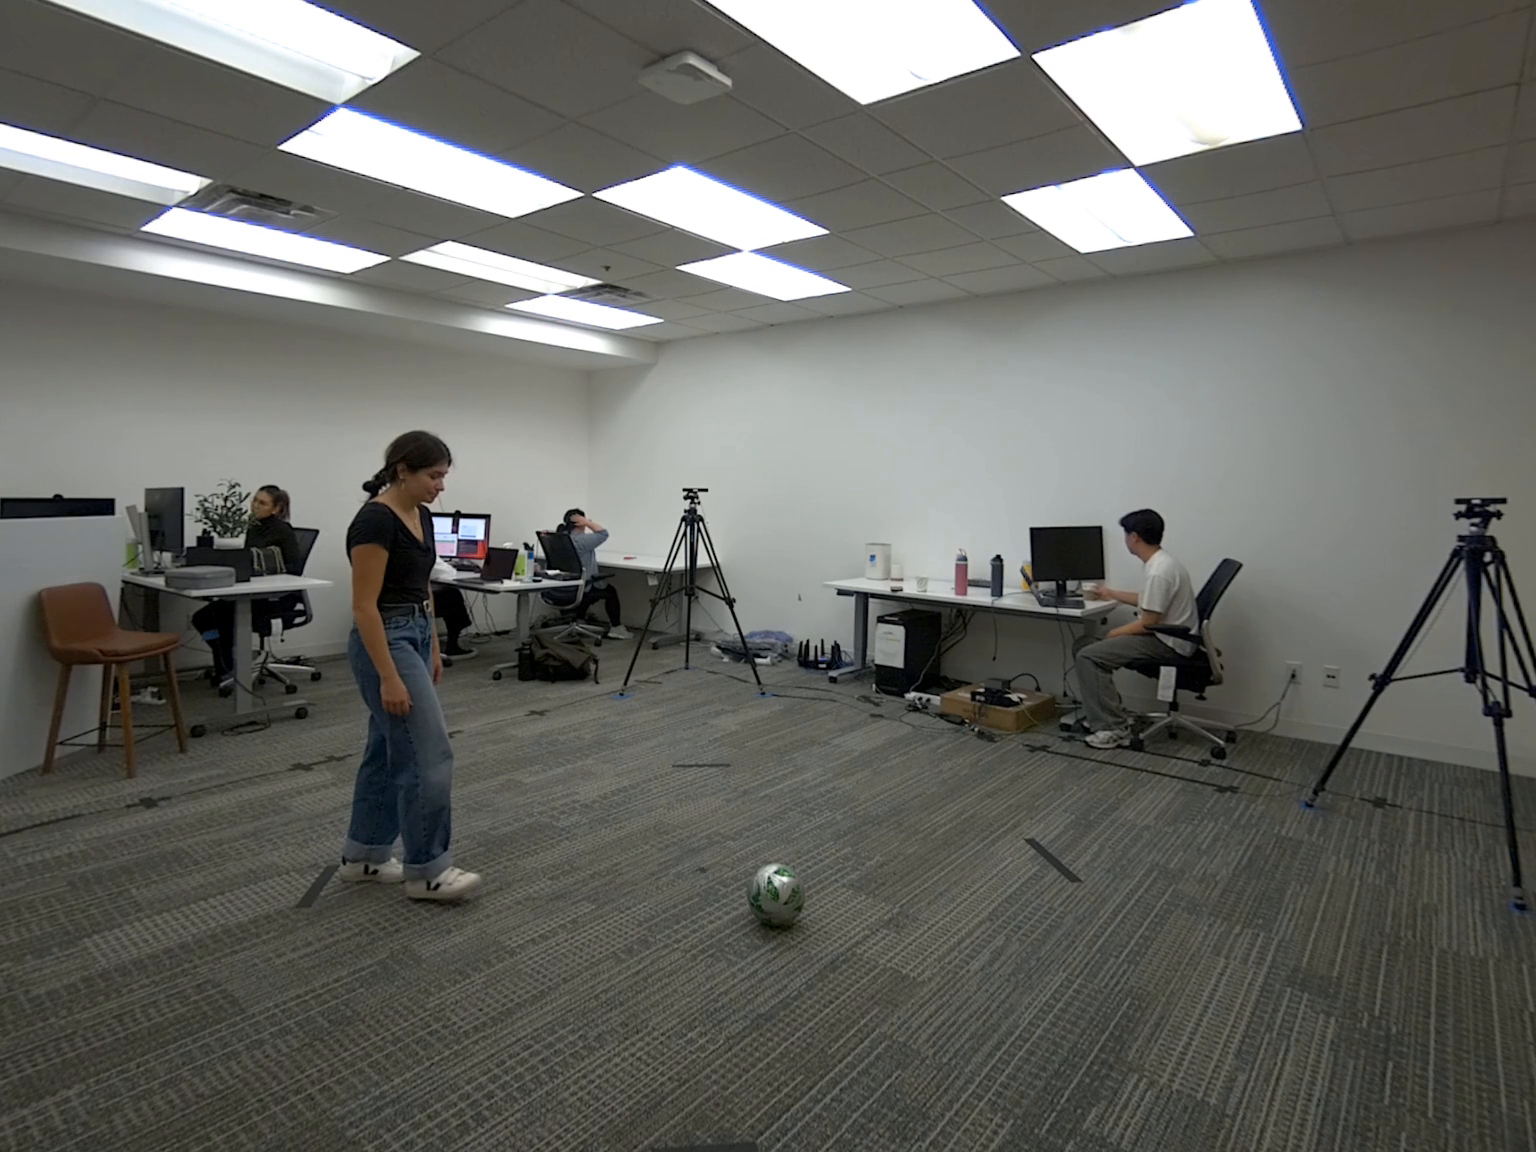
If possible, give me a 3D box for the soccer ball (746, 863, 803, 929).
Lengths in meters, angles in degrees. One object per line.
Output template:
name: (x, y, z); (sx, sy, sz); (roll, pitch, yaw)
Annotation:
soccer ball: (0.028, 1.014, 2.735); (0.187, 0.187, 0.188); (1, 4, -2)
